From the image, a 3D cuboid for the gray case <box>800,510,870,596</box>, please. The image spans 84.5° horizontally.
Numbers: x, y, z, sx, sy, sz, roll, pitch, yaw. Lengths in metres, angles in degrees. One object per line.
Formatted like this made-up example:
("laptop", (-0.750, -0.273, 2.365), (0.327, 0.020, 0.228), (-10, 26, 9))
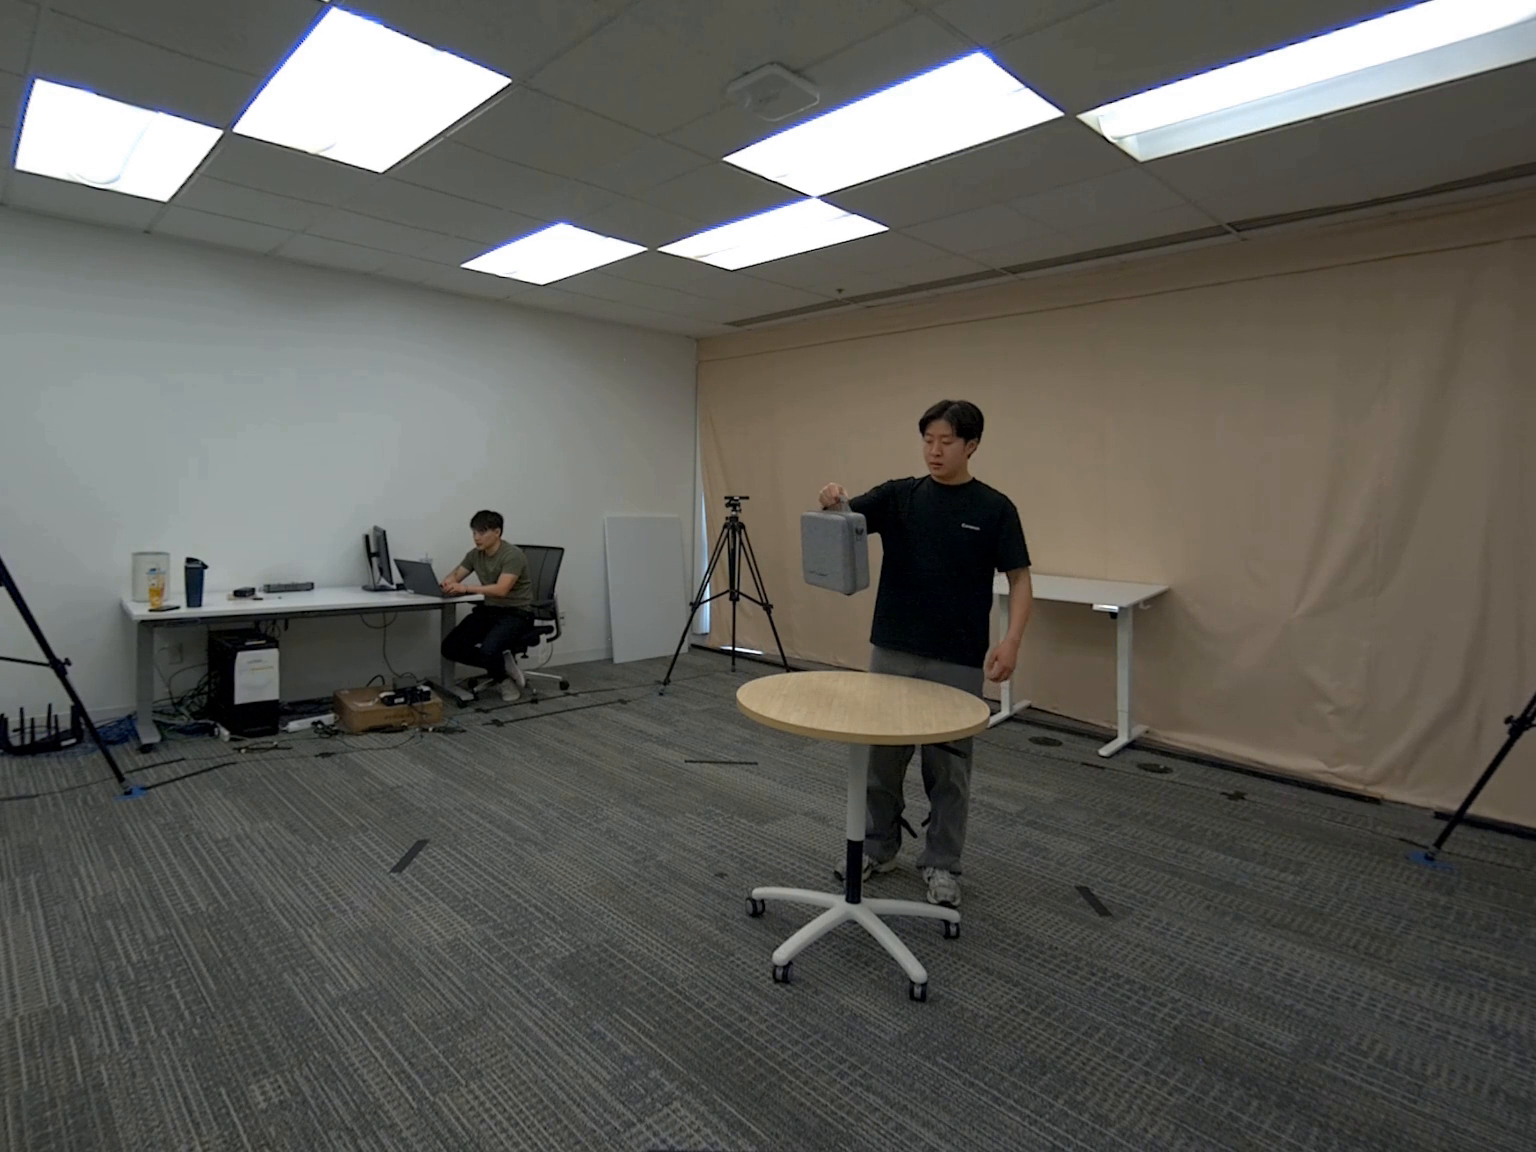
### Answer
("gray case", (0.214, -0.092, 2.729), (0.101, 0.285, 0.269), (-9, 12, -28))
